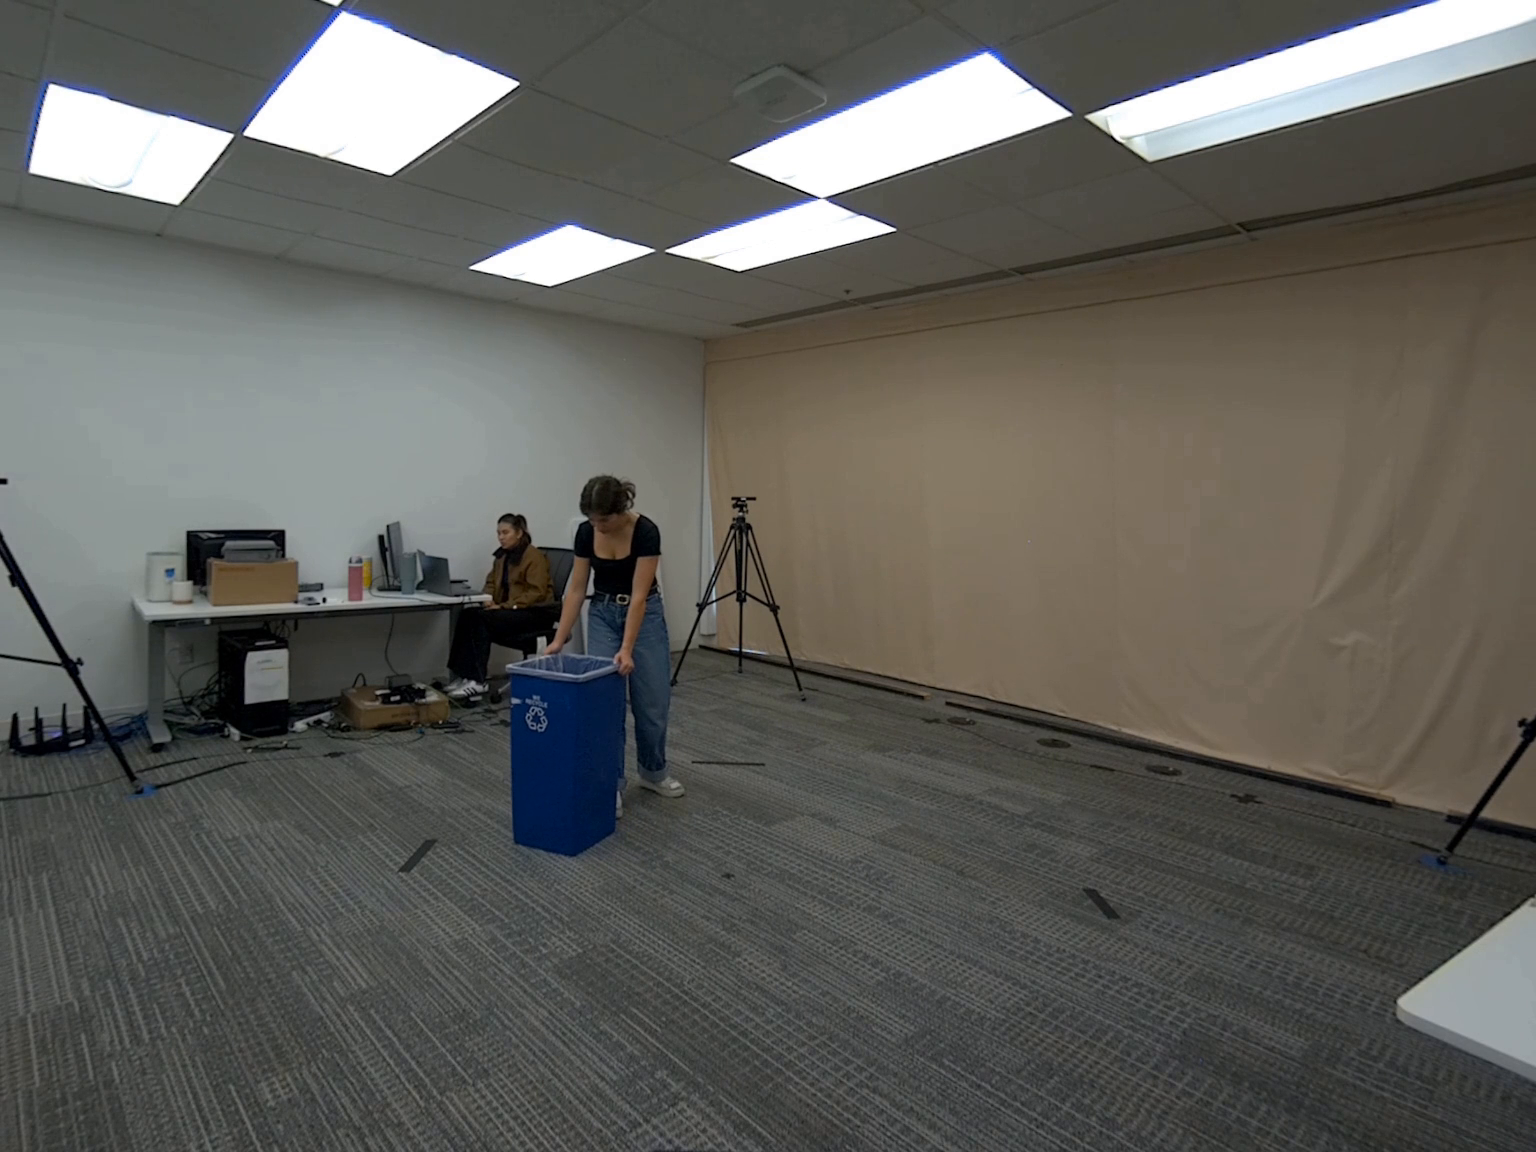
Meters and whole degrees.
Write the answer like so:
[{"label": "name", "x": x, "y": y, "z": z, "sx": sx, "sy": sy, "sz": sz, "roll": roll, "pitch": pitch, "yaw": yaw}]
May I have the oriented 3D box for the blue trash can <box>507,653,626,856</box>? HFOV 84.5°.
[{"label": "blue trash can", "x": -0.819, "y": 0.707, "z": 3.409, "sx": 0.381, "sy": 0.712, "sz": 0.372, "roll": 3, "pitch": 3, "yaw": 24}]
